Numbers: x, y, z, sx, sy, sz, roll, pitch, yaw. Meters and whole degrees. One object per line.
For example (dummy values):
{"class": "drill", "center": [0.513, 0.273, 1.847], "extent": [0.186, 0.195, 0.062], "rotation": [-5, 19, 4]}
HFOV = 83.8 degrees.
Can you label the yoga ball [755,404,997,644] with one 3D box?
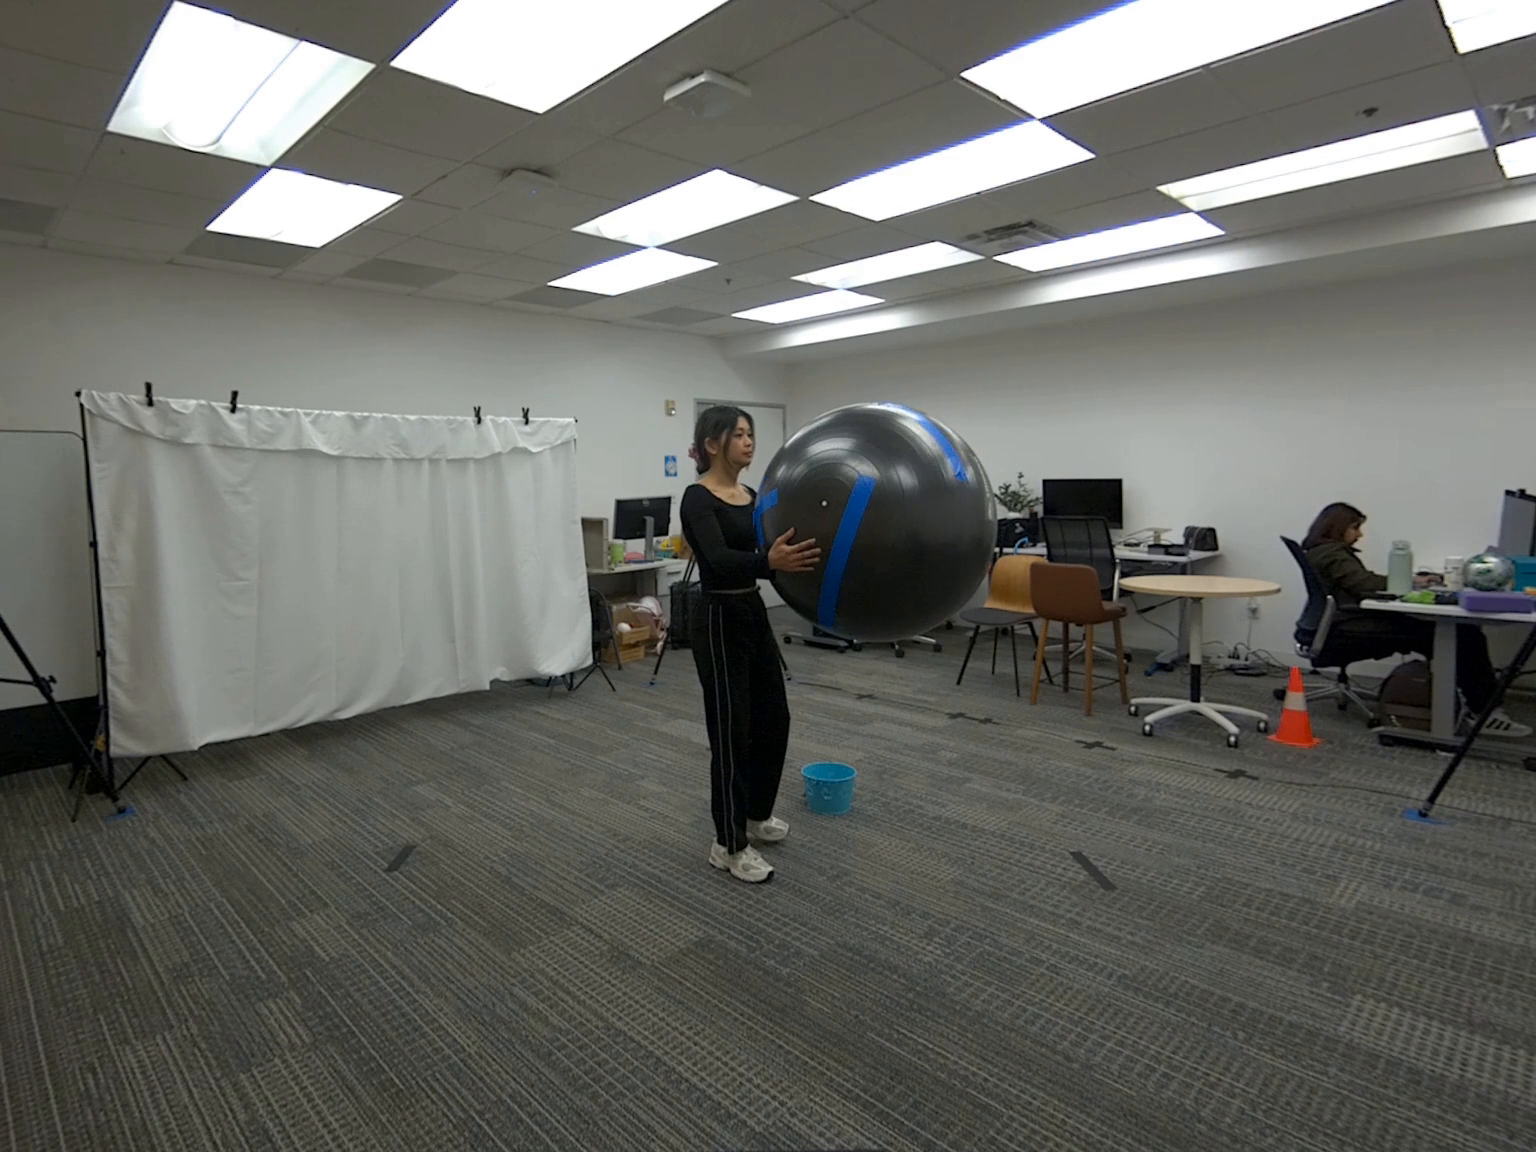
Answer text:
{"class": "yoga ball", "center": [0.341, -0.163, 2.720], "extent": [0.757, 0.755, 0.762], "rotation": [-1, 5, -2]}
